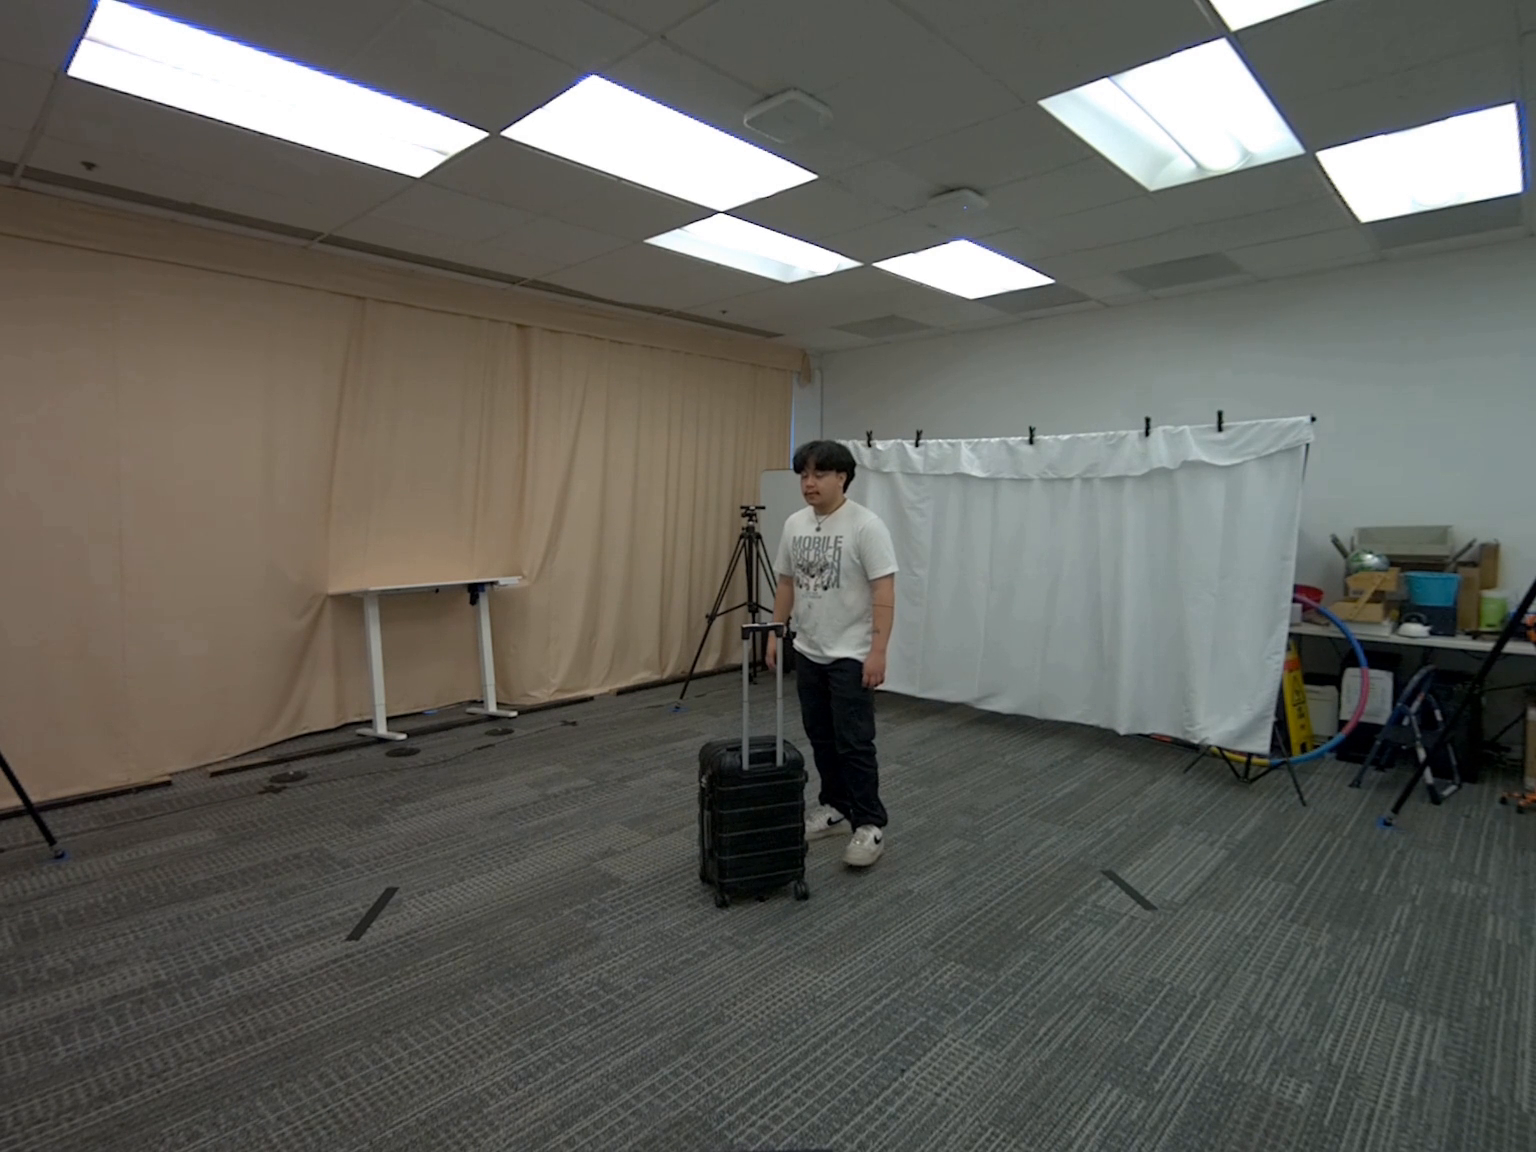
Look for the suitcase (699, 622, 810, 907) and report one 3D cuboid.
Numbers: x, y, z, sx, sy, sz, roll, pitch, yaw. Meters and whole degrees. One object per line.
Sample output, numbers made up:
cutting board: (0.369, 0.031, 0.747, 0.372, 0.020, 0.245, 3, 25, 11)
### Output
suitcase: (-0.061, 0.665, 3.033, 0.377, 0.977, 0.262, 0, 2, -18)
